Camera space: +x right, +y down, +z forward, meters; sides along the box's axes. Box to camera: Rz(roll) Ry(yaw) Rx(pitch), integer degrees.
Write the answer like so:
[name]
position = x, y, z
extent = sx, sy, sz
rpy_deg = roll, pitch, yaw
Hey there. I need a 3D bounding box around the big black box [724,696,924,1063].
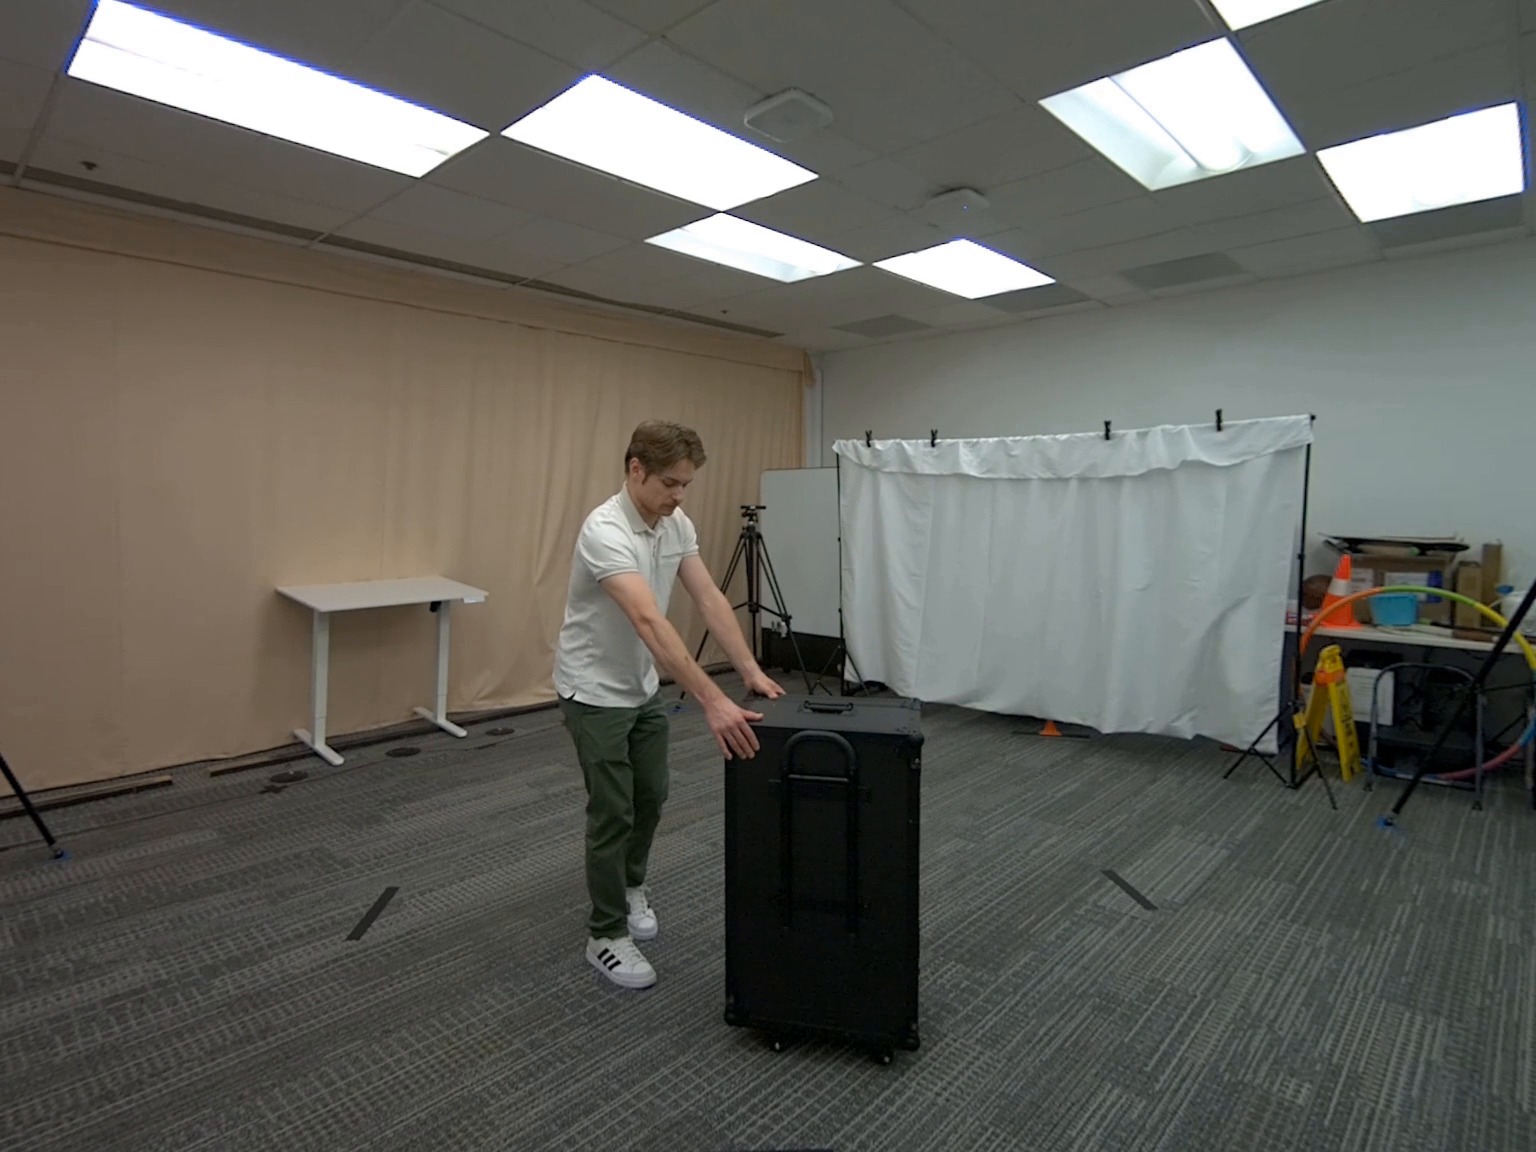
[big black box]
position = 0.166, 0.785, 2.236
extent = 0.530, 0.866, 0.381
rpy_deg = 0, 4, 11
